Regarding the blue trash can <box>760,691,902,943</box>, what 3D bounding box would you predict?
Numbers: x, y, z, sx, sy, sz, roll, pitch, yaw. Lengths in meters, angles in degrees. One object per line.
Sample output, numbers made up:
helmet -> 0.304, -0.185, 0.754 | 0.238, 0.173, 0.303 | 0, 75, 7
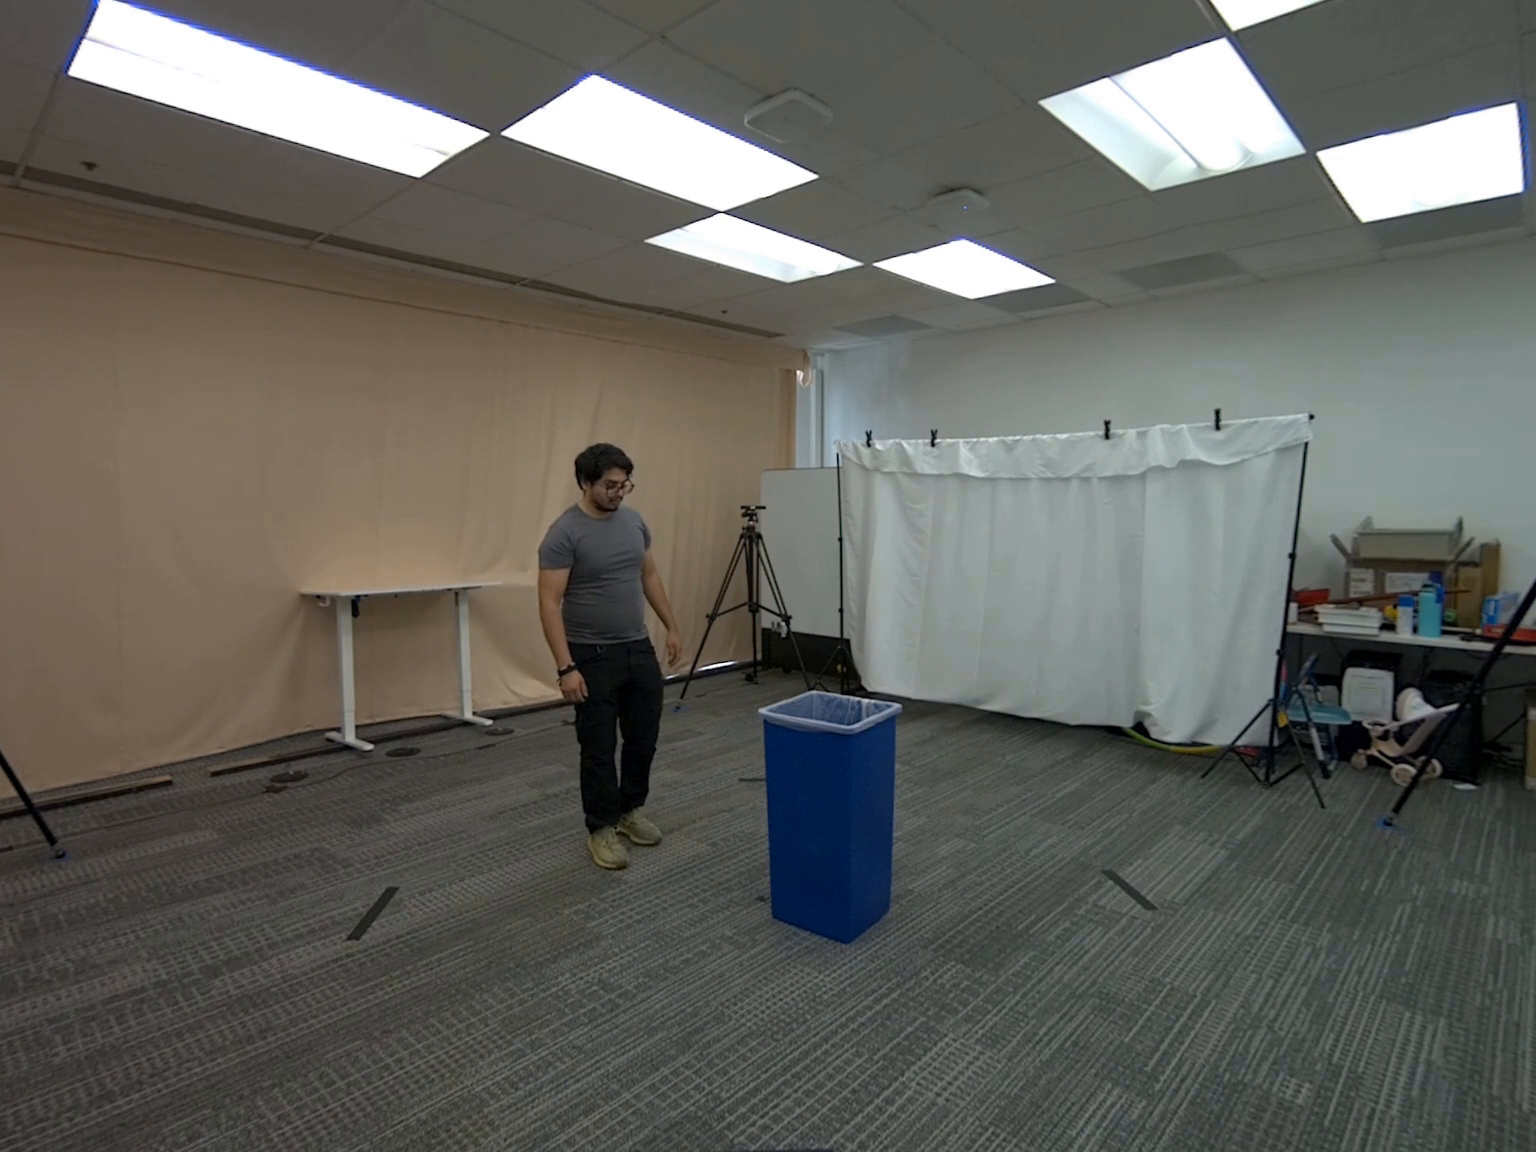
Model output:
blue trash can -> 0.215, 0.797, 2.846 | 0.390, 0.712, 0.363 | 2, 4, 37
